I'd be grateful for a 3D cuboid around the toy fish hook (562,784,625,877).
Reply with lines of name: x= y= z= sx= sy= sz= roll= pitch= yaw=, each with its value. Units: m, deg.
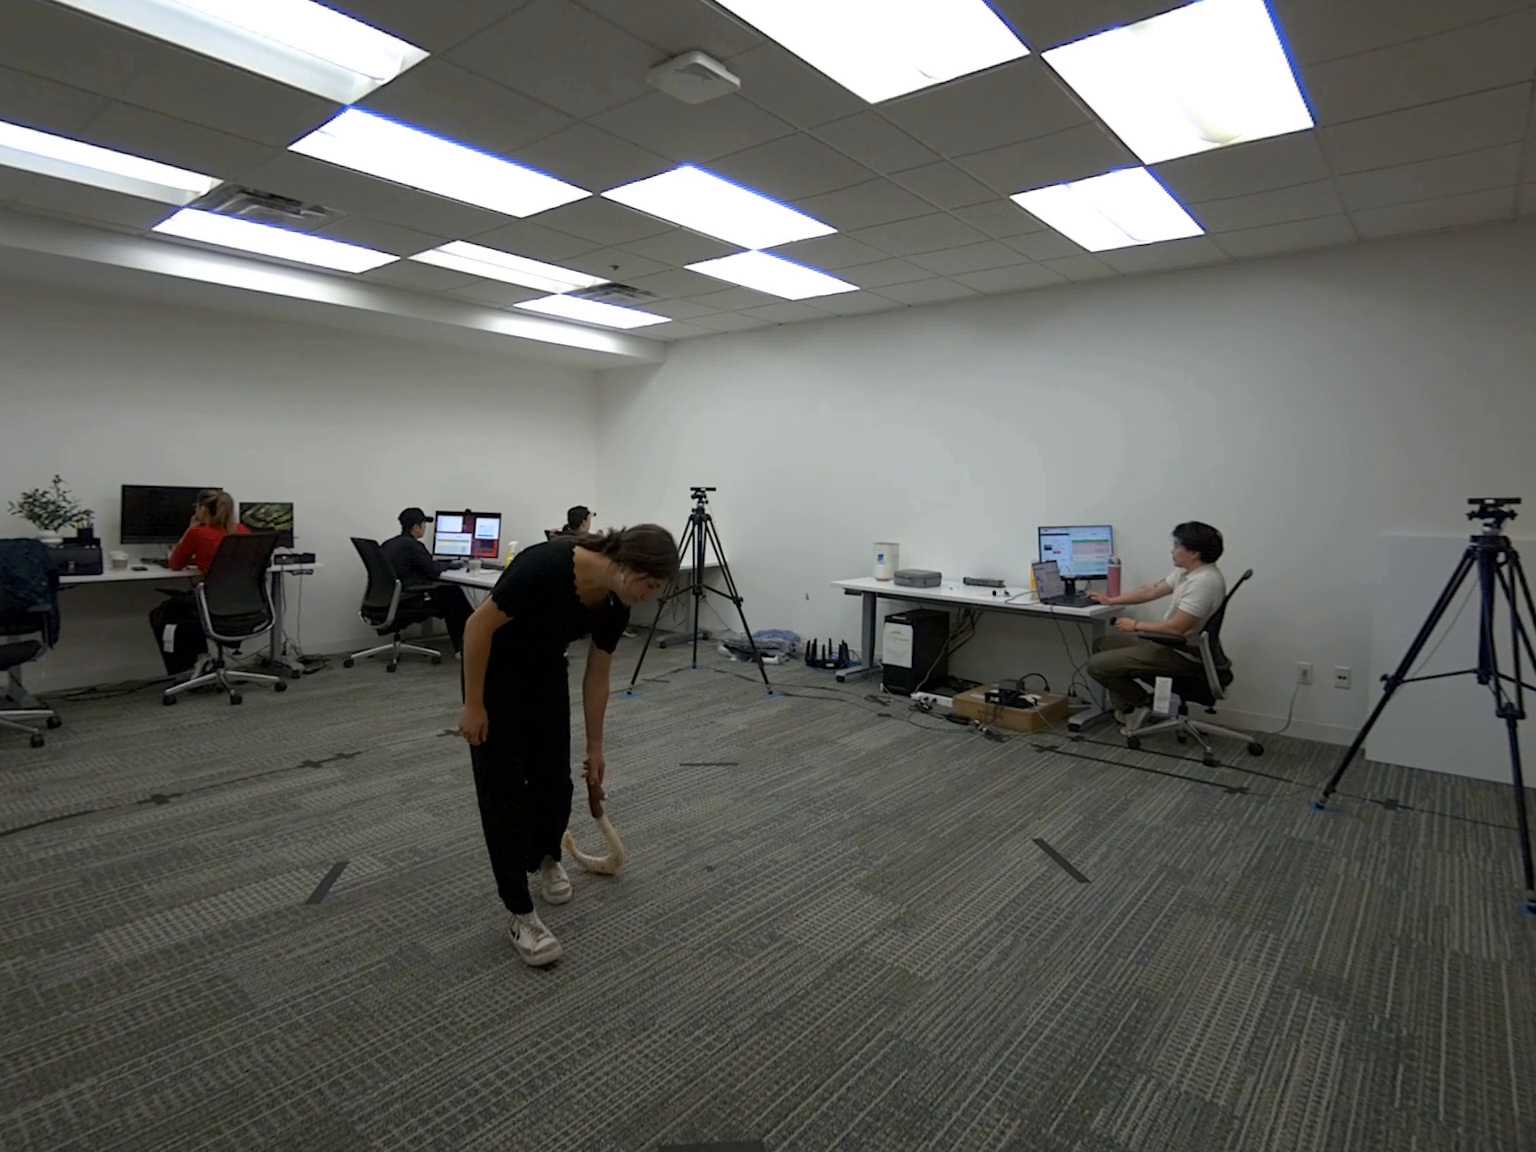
toy fish hook: x=-0.635 y=0.851 z=2.934 sx=0.226 sy=0.494 sz=0.049 roll=3 pitch=30 yaw=7
